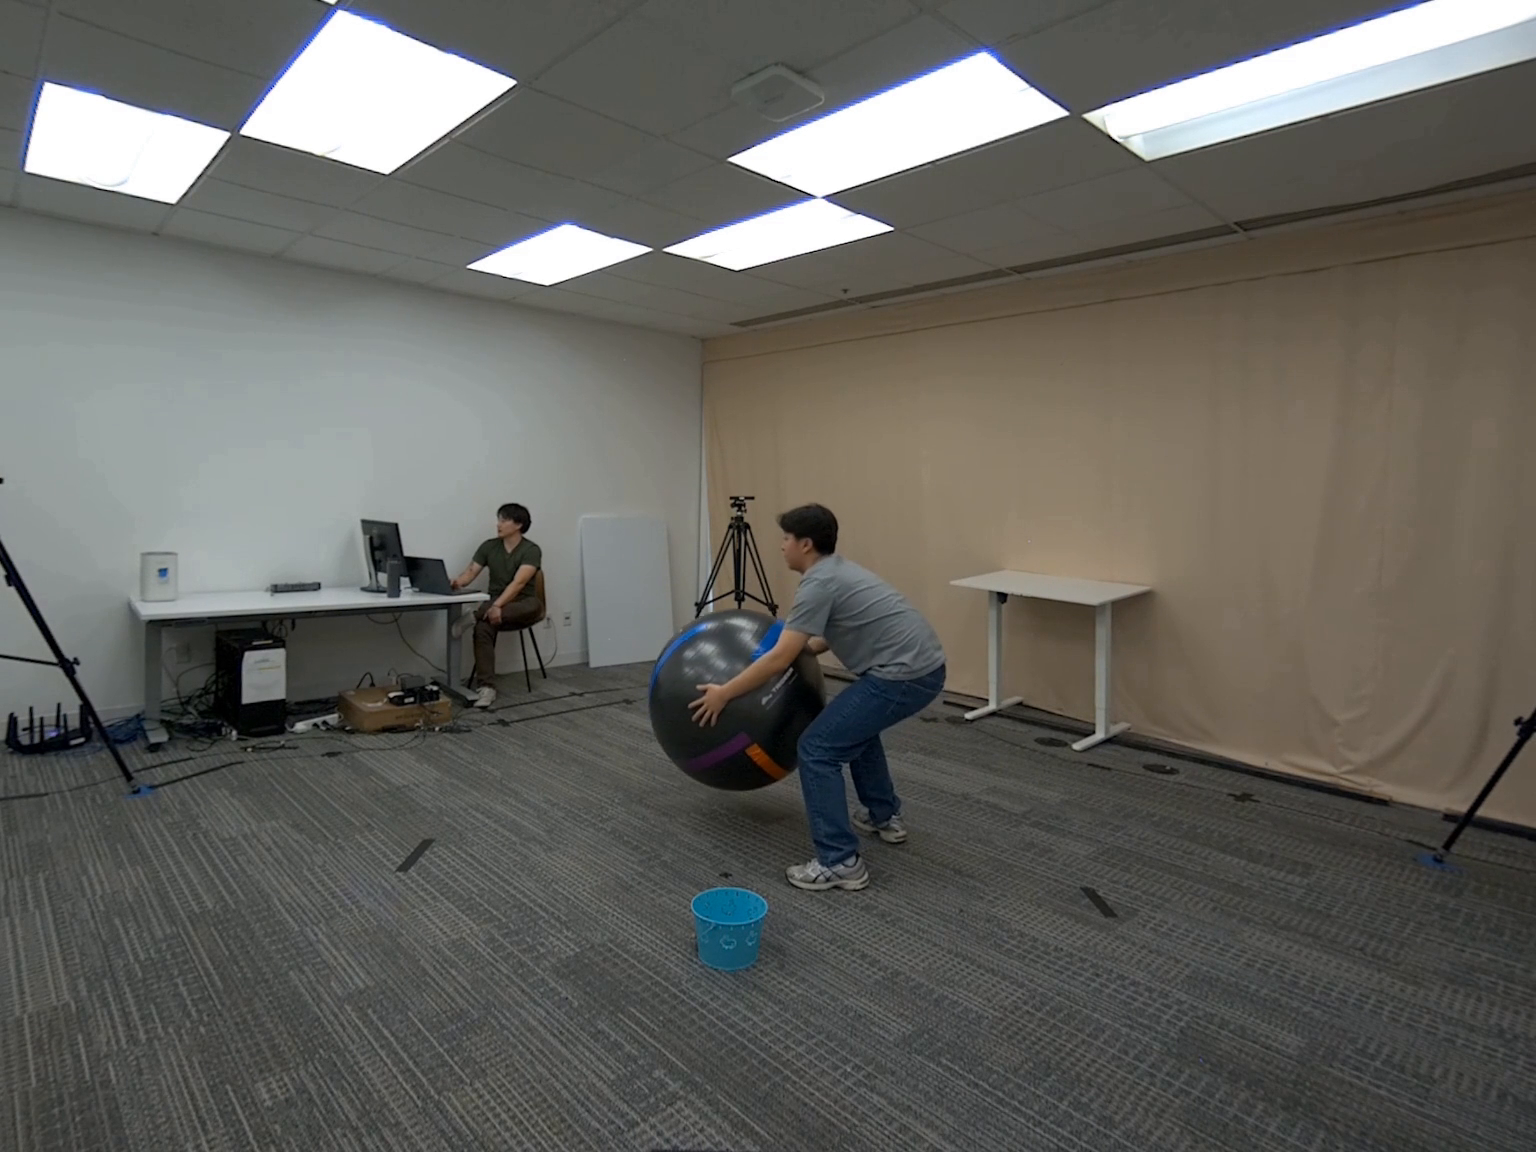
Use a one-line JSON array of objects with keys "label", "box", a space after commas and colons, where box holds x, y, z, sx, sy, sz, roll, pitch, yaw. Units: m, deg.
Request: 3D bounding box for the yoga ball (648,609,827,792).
[{"label": "yoga ball", "box": [-0.138, 0.517, 3.574, 0.757, 0.756, 0.761, 1, 4, -1]}]
